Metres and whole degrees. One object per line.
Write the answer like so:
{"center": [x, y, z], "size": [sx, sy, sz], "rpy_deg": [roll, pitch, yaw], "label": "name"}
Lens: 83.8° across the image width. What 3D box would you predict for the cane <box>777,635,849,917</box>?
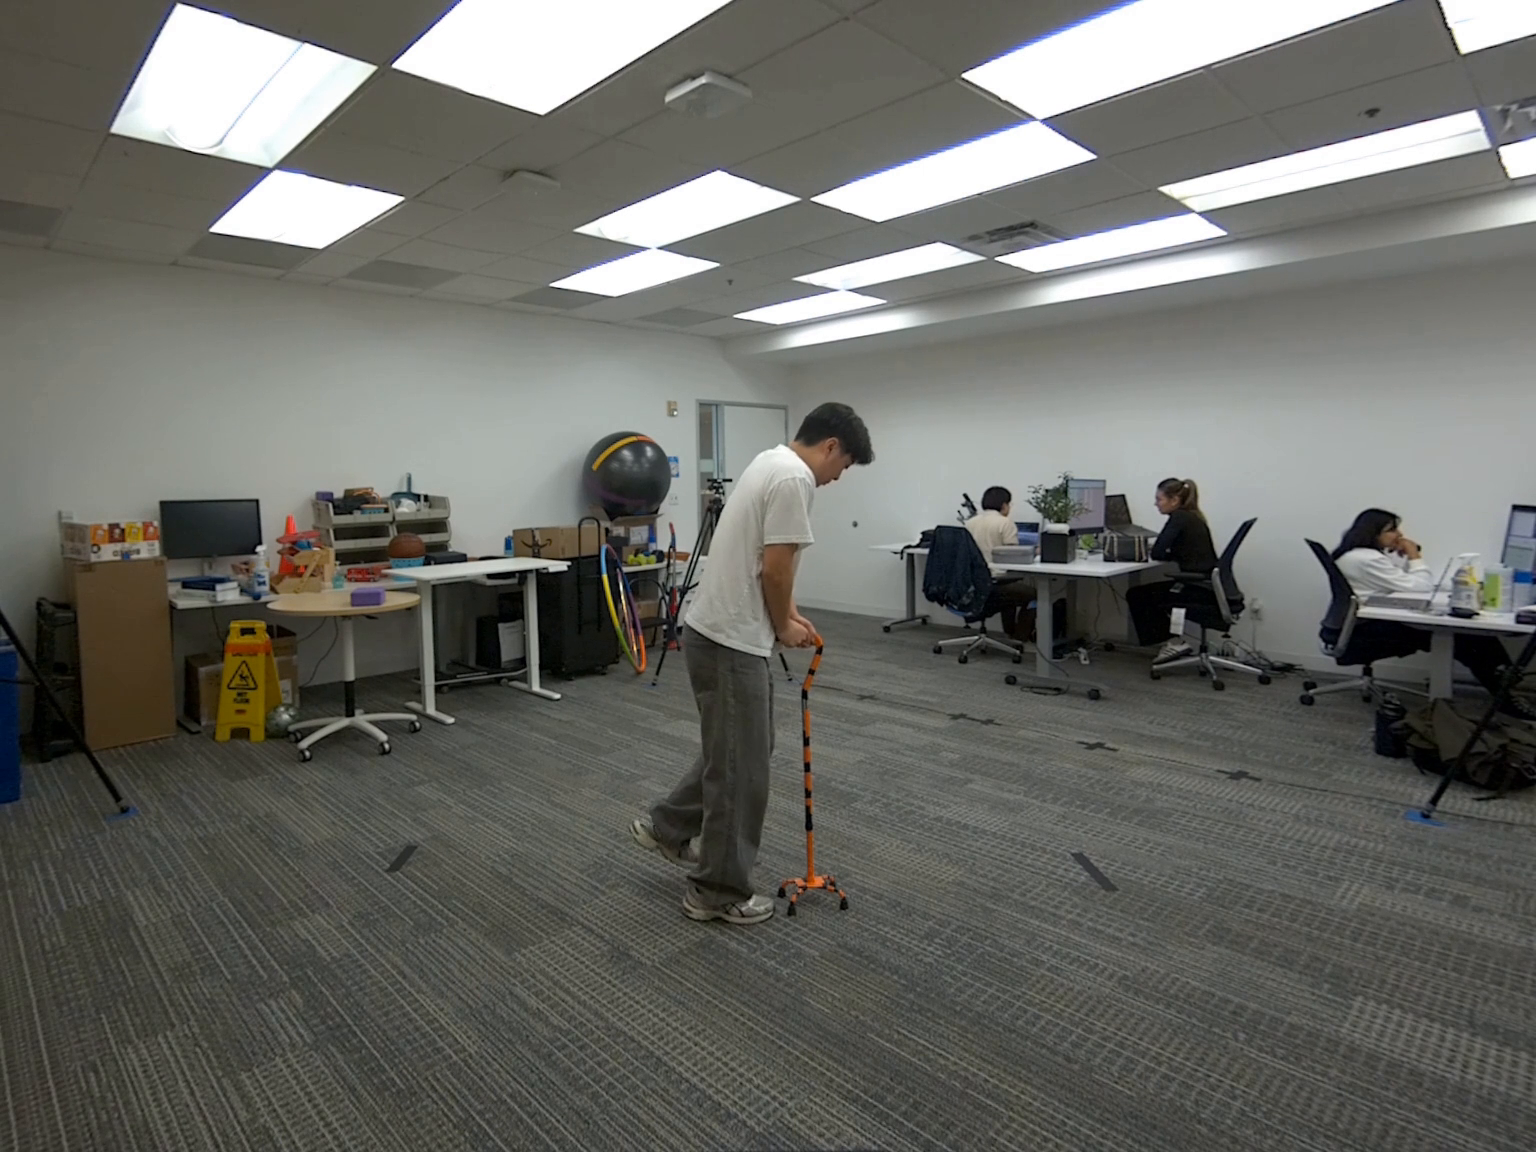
{"center": [0.132, 0.628, 2.795], "size": [0.204, 0.906, 0.154], "rpy_deg": [-2, 3, -14], "label": "cane"}
